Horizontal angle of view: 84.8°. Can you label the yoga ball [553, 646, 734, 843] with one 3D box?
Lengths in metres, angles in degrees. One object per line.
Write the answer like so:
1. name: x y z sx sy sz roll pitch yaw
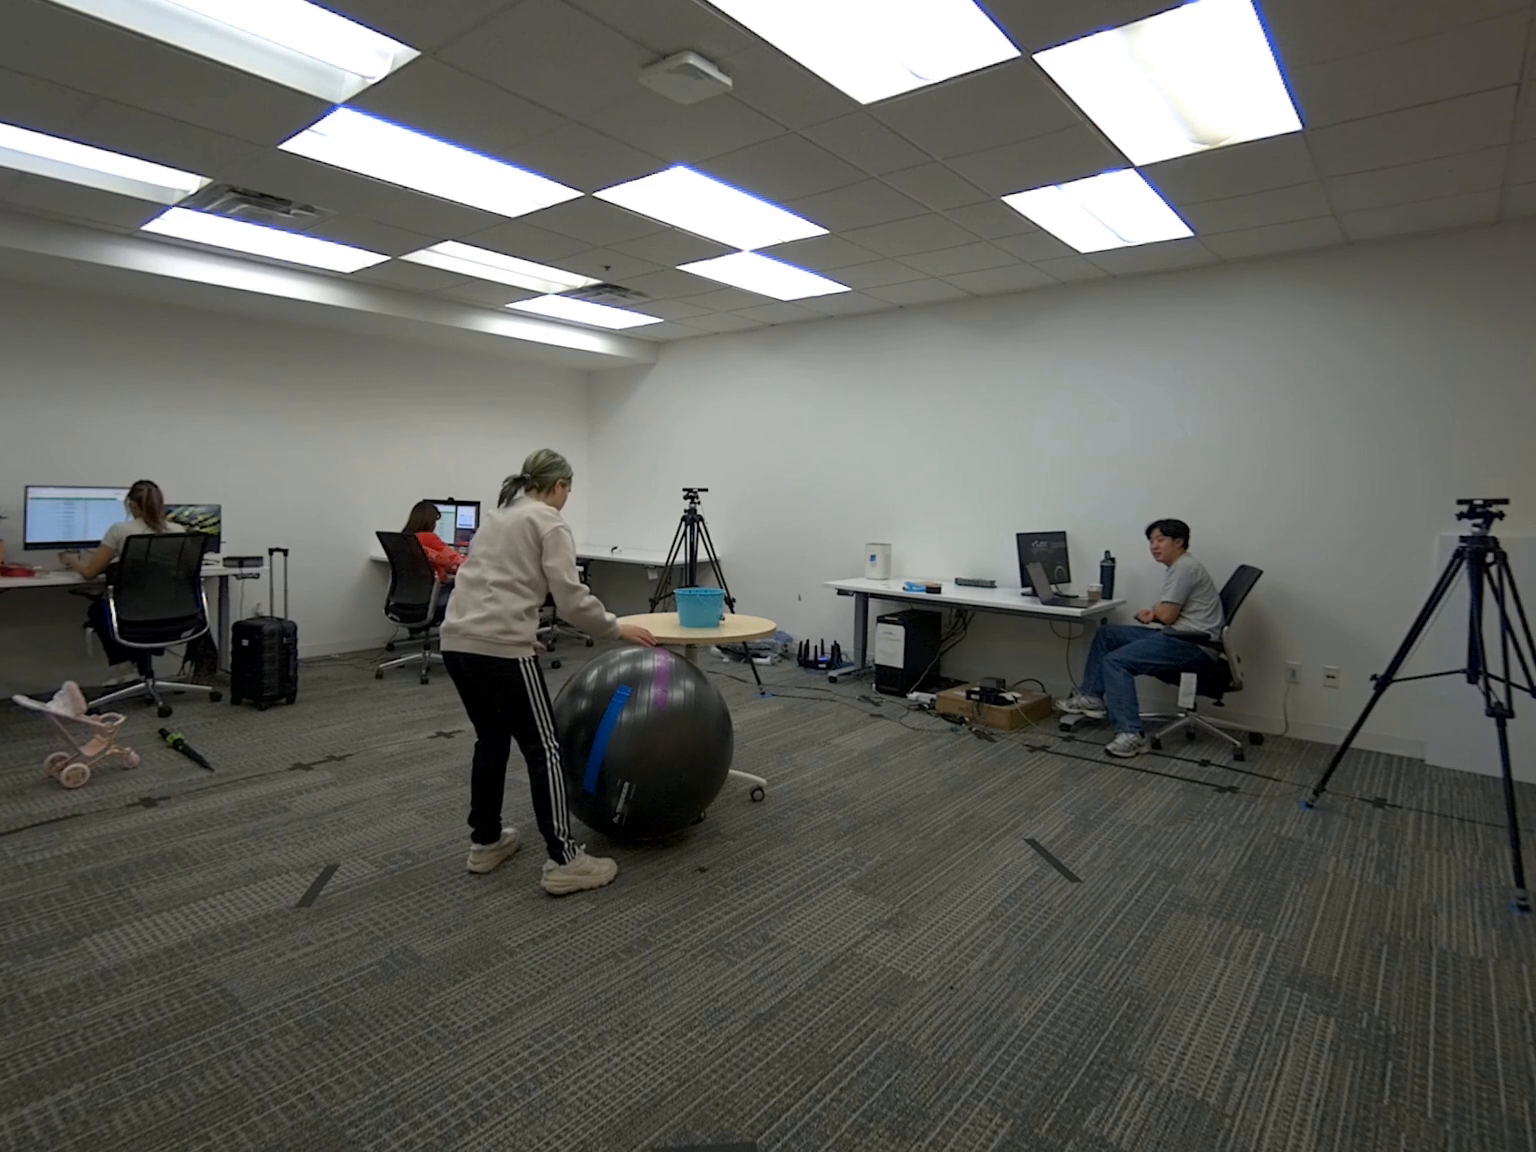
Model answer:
1. yoga ball: -0.514 0.662 3.427 0.757 0.756 0.761 1 4 -2
